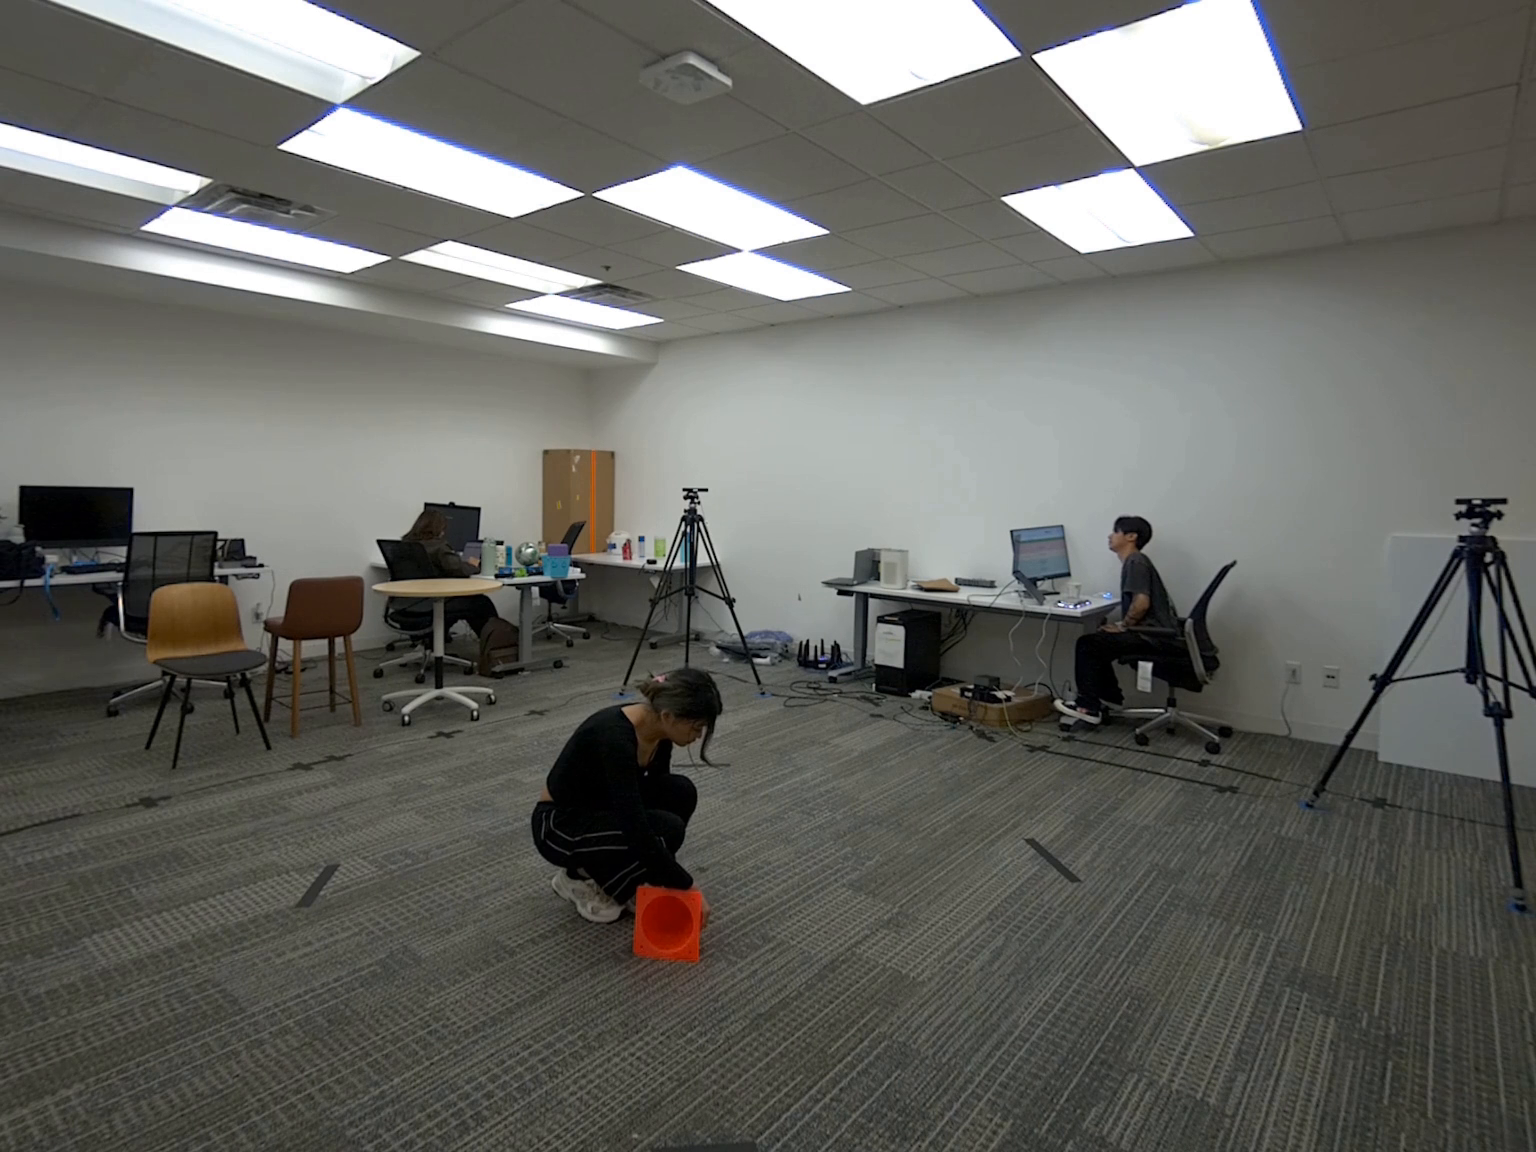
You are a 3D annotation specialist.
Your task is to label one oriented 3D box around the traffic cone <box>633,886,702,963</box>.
[{"bbox_3d":[-0.288,1.041,2.706,0.207,0.205,0.377,-2,-6,8],"label":"traffic cone"}]
